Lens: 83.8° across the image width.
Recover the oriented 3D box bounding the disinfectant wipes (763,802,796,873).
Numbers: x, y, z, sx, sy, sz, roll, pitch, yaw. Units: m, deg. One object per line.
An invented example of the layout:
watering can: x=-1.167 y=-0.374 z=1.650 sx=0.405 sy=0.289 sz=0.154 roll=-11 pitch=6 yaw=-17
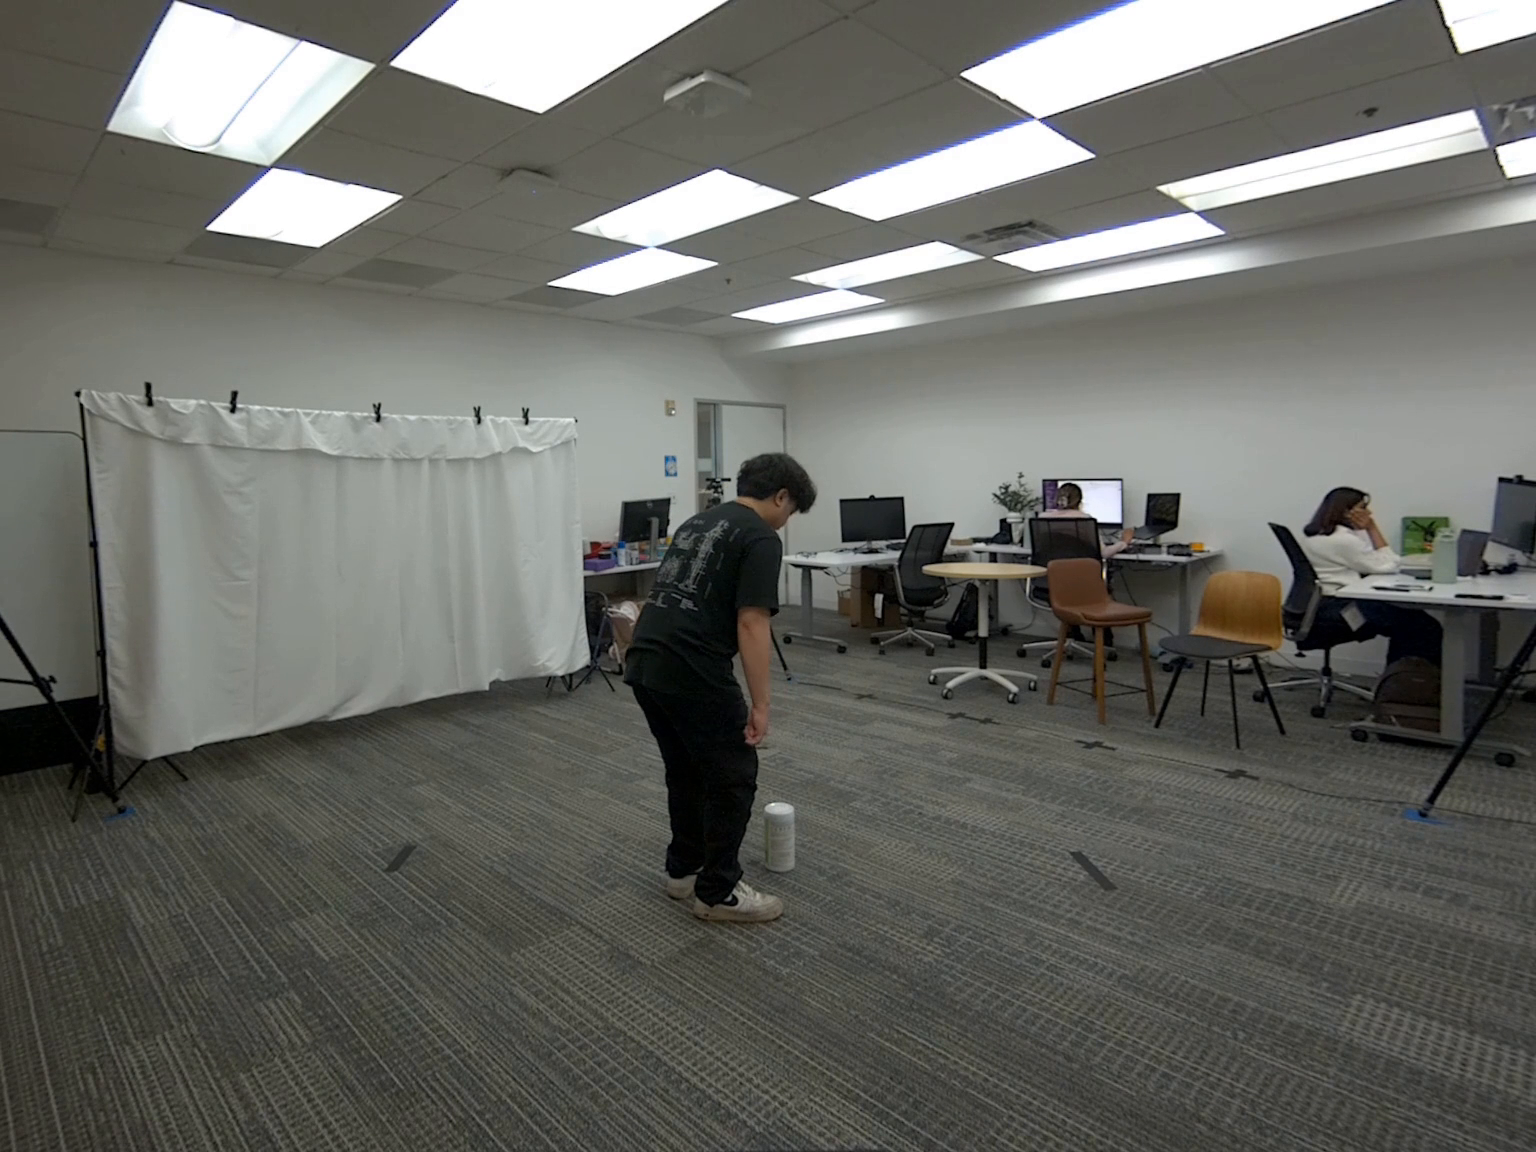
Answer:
disinfectant wipes: x=0.046 y=0.940 z=3.069 sx=0.118 sy=0.217 sz=0.118 roll=-2 pitch=4 yaw=-2
